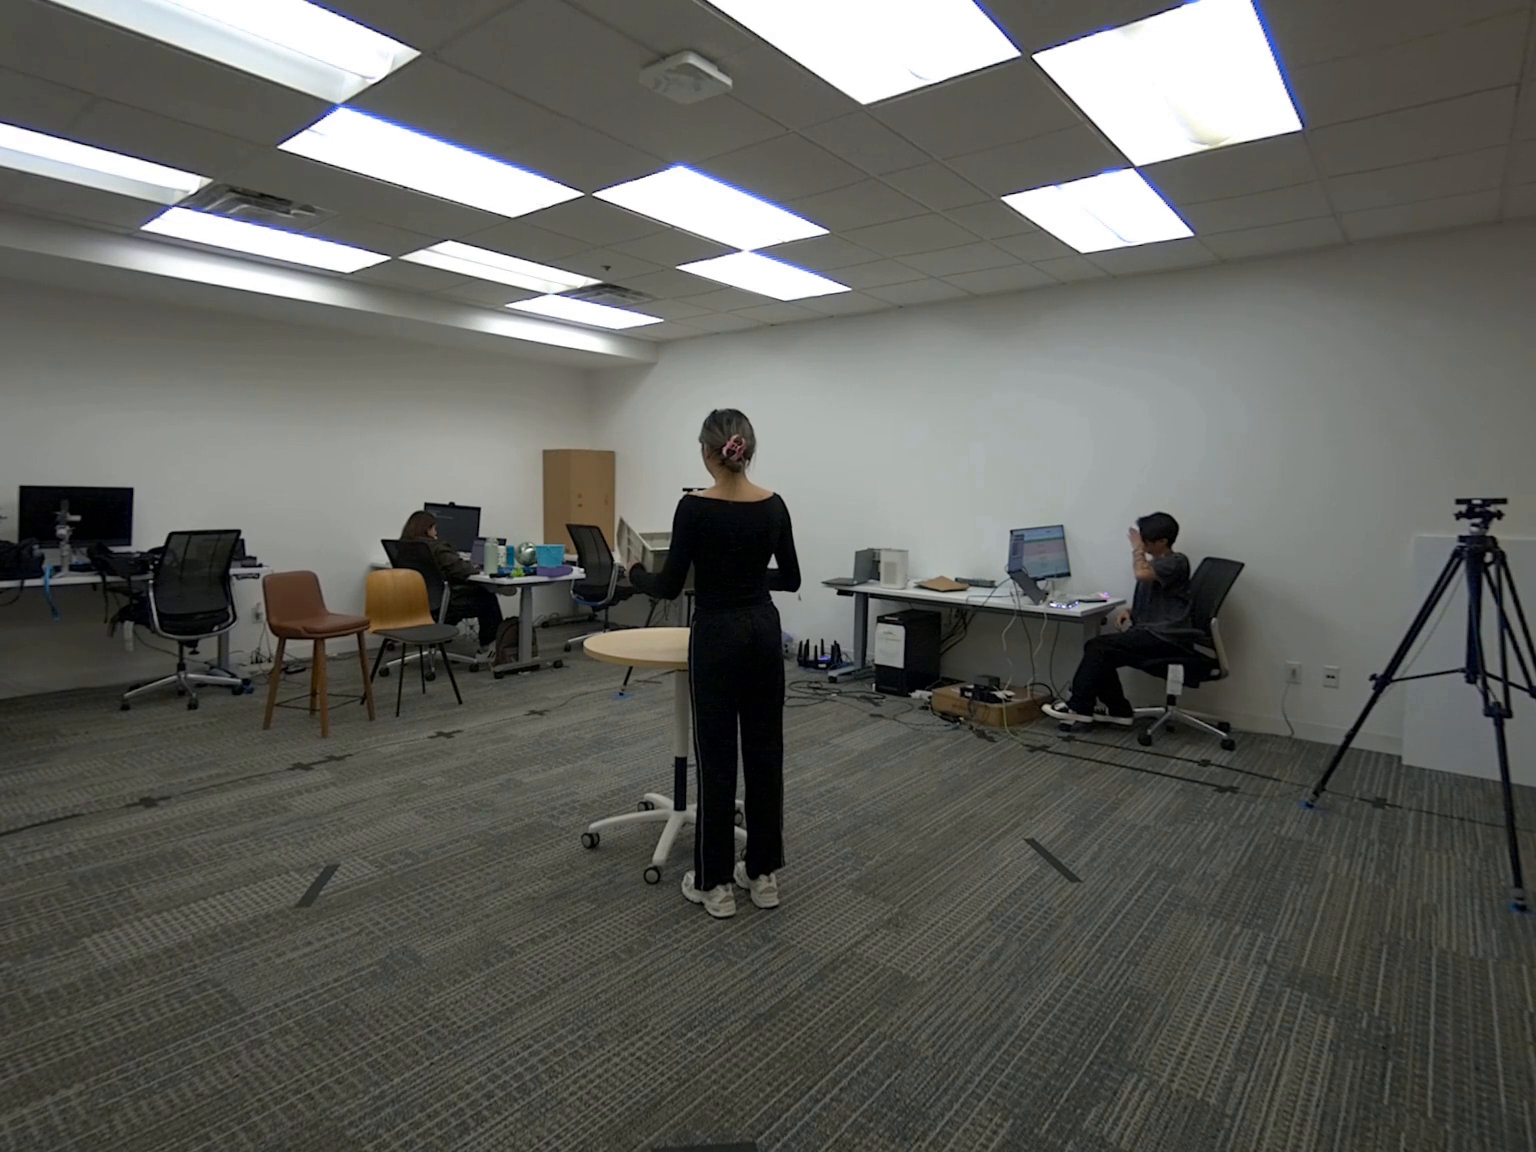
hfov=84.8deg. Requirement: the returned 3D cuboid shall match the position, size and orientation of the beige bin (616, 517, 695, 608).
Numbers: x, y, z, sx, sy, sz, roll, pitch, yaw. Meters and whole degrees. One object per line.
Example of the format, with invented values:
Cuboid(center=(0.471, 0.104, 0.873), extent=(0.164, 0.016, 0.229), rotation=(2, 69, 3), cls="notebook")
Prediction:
Cuboid(center=(-0.320, -0.095, 3.162), extent=(0.412, 0.186, 0.393), rotation=(-4, 25, -26), cls="beige bin")
